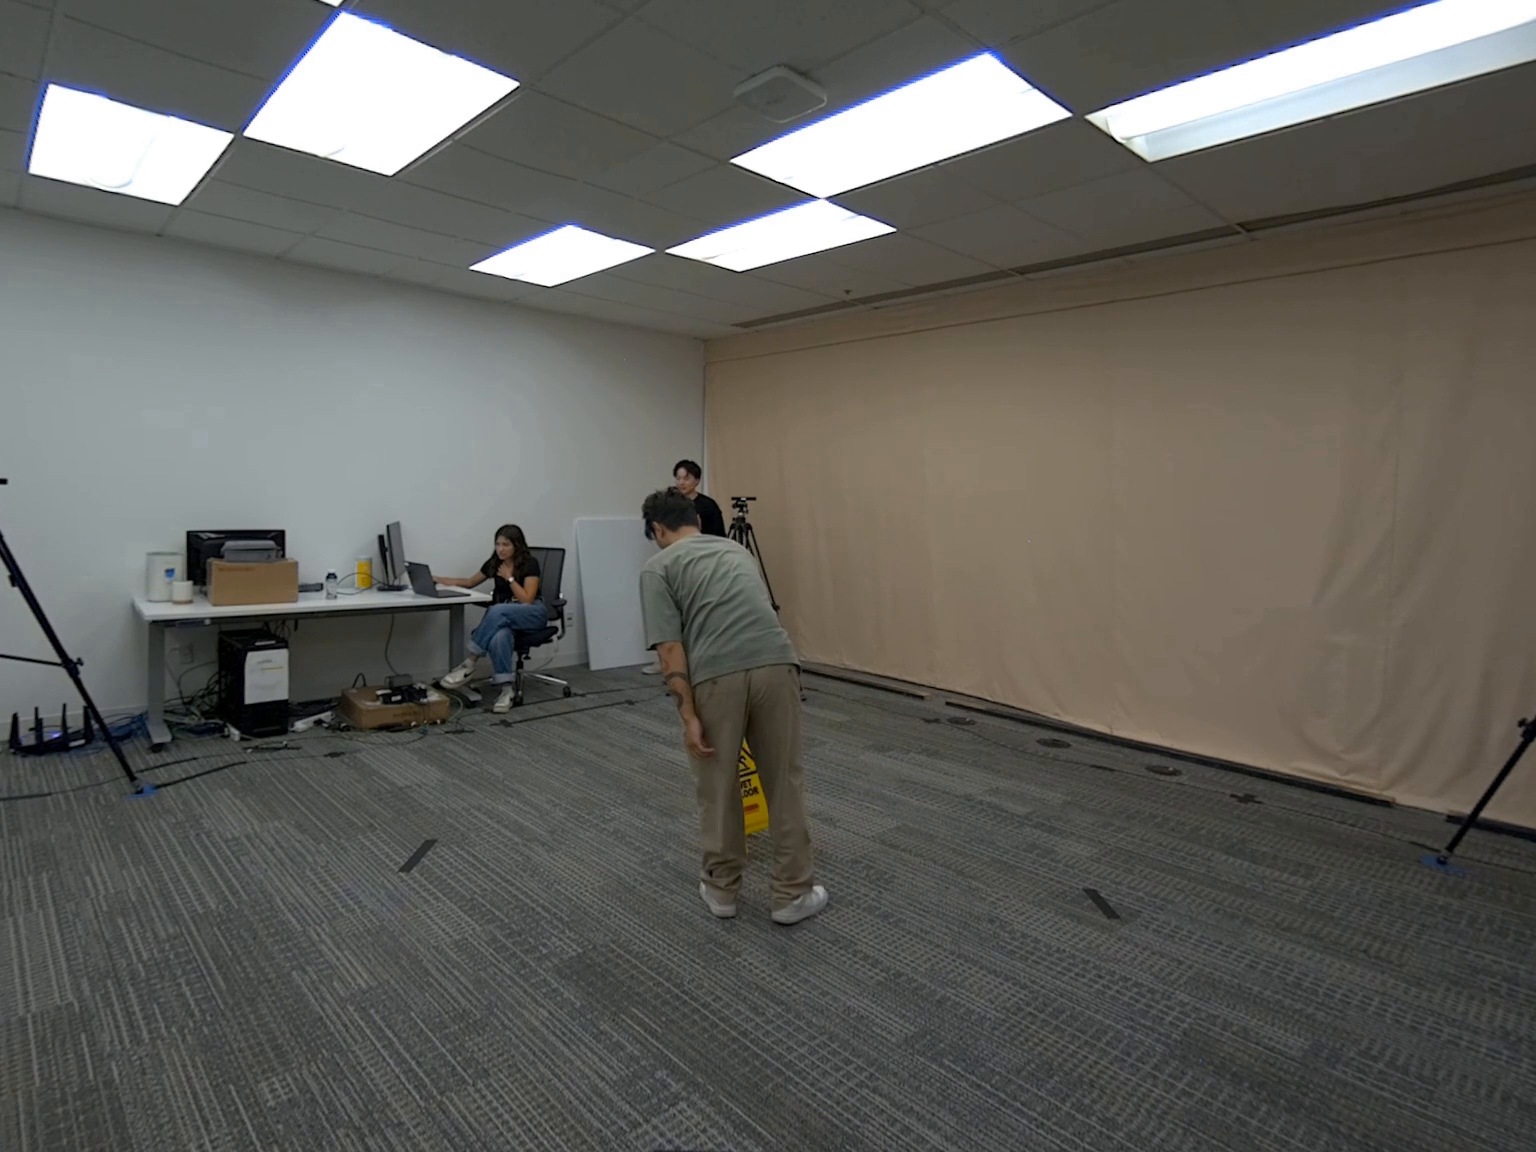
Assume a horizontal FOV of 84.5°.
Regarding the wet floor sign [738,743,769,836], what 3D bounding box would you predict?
[{"bbox_3d":[-0.109,0.744,3.366,0.284,0.648,0.287,-15,-3,12],"label":"wet floor sign"}]
